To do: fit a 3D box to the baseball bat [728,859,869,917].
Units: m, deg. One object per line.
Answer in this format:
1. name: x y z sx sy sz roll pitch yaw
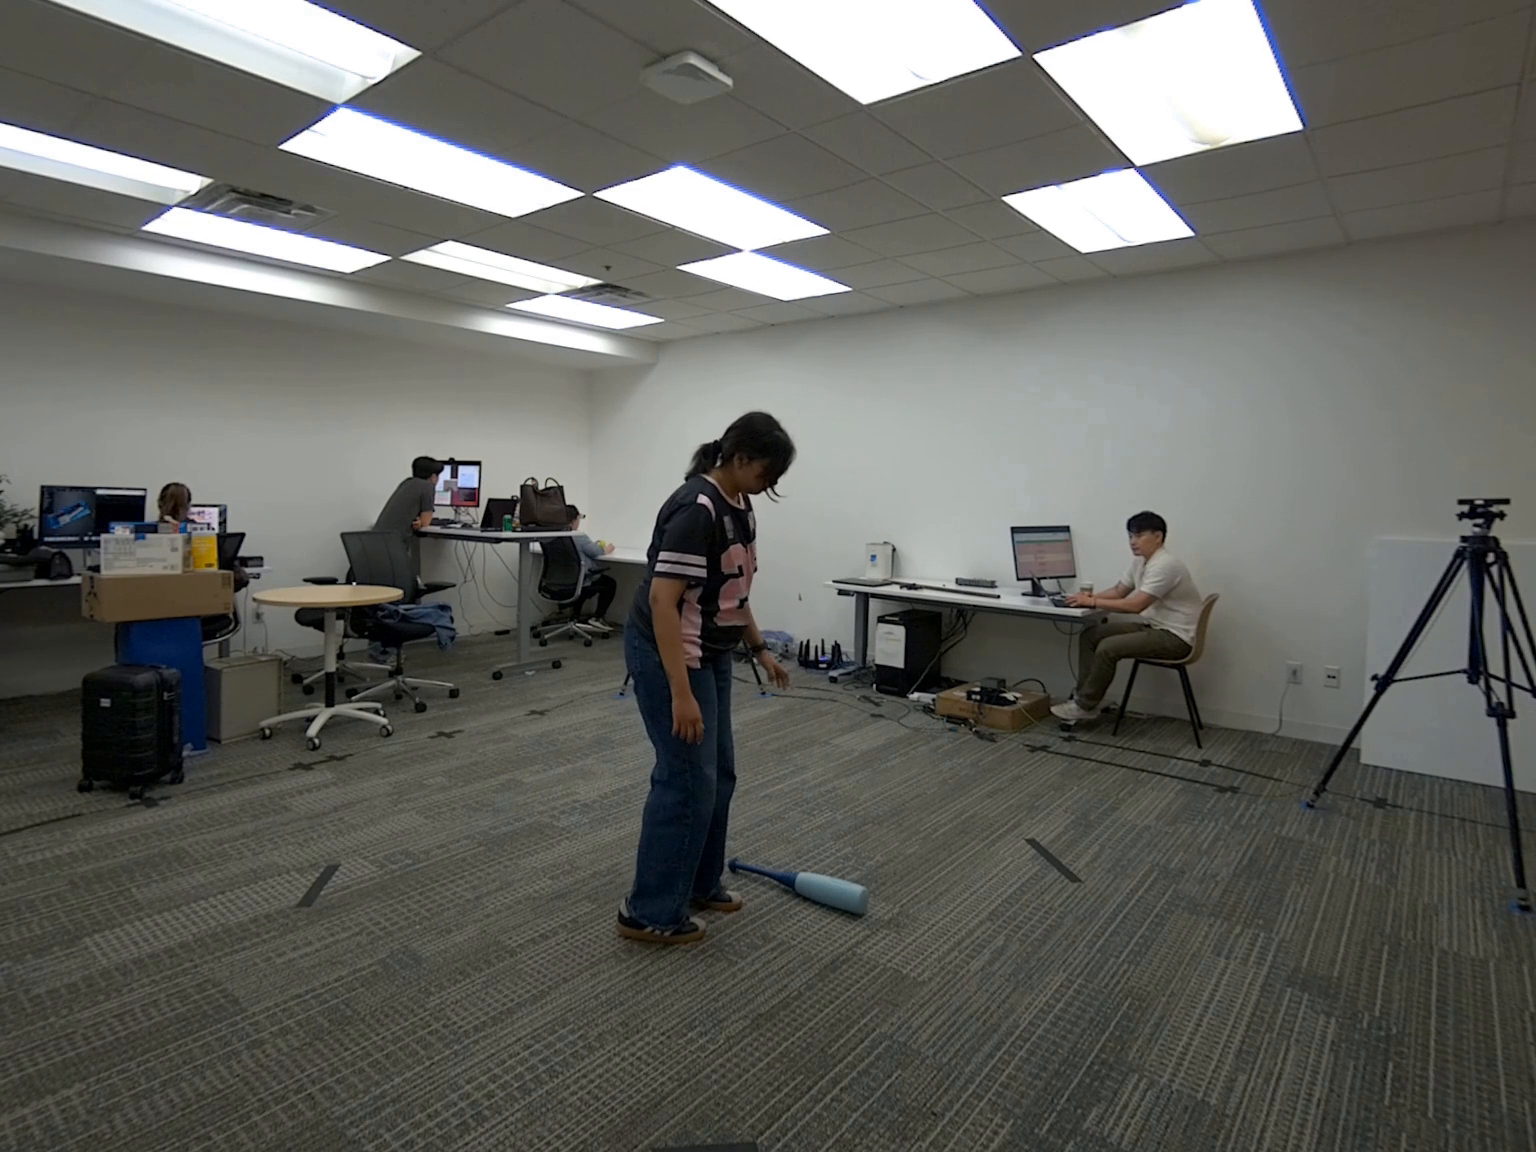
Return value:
1. baseball bat: 0.087 1.056 2.940 0.560 0.089 0.086 2 4 37
